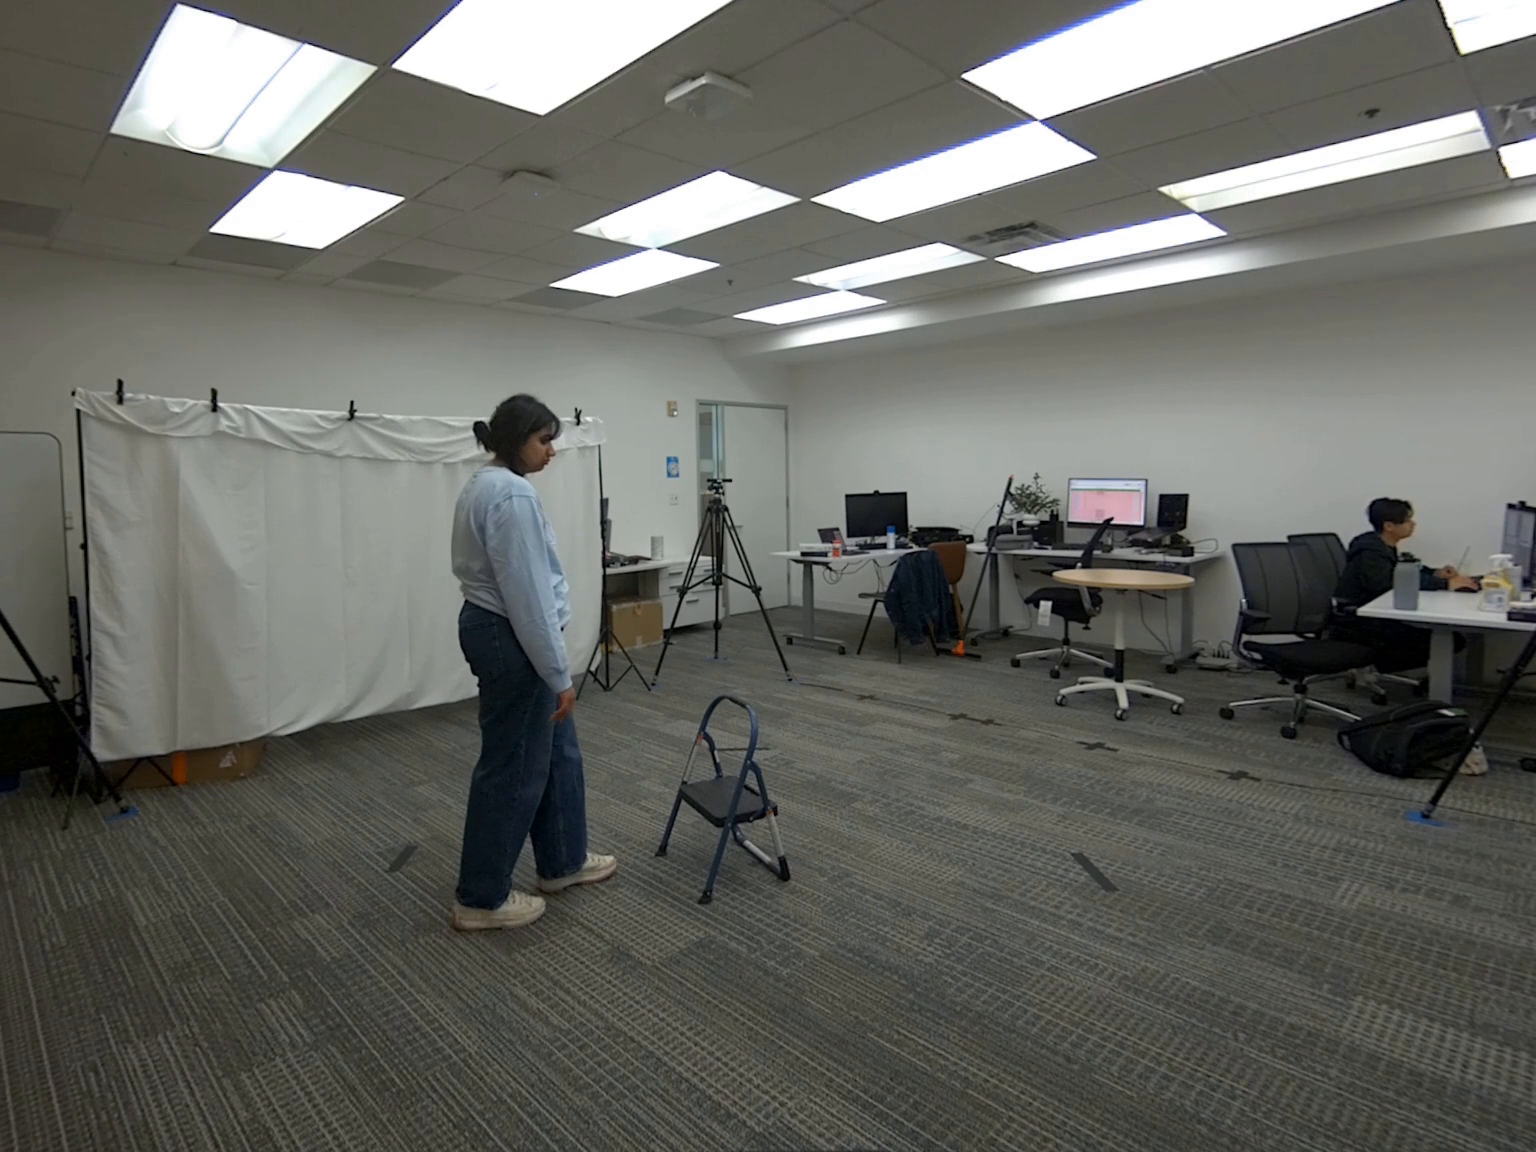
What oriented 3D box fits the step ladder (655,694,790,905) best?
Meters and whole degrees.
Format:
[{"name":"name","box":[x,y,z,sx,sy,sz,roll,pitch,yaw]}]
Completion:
[{"name":"step ladder","box":[-0.168,0.749,3.062,0.341,0.604,0.442,-3,5,-28]}]
